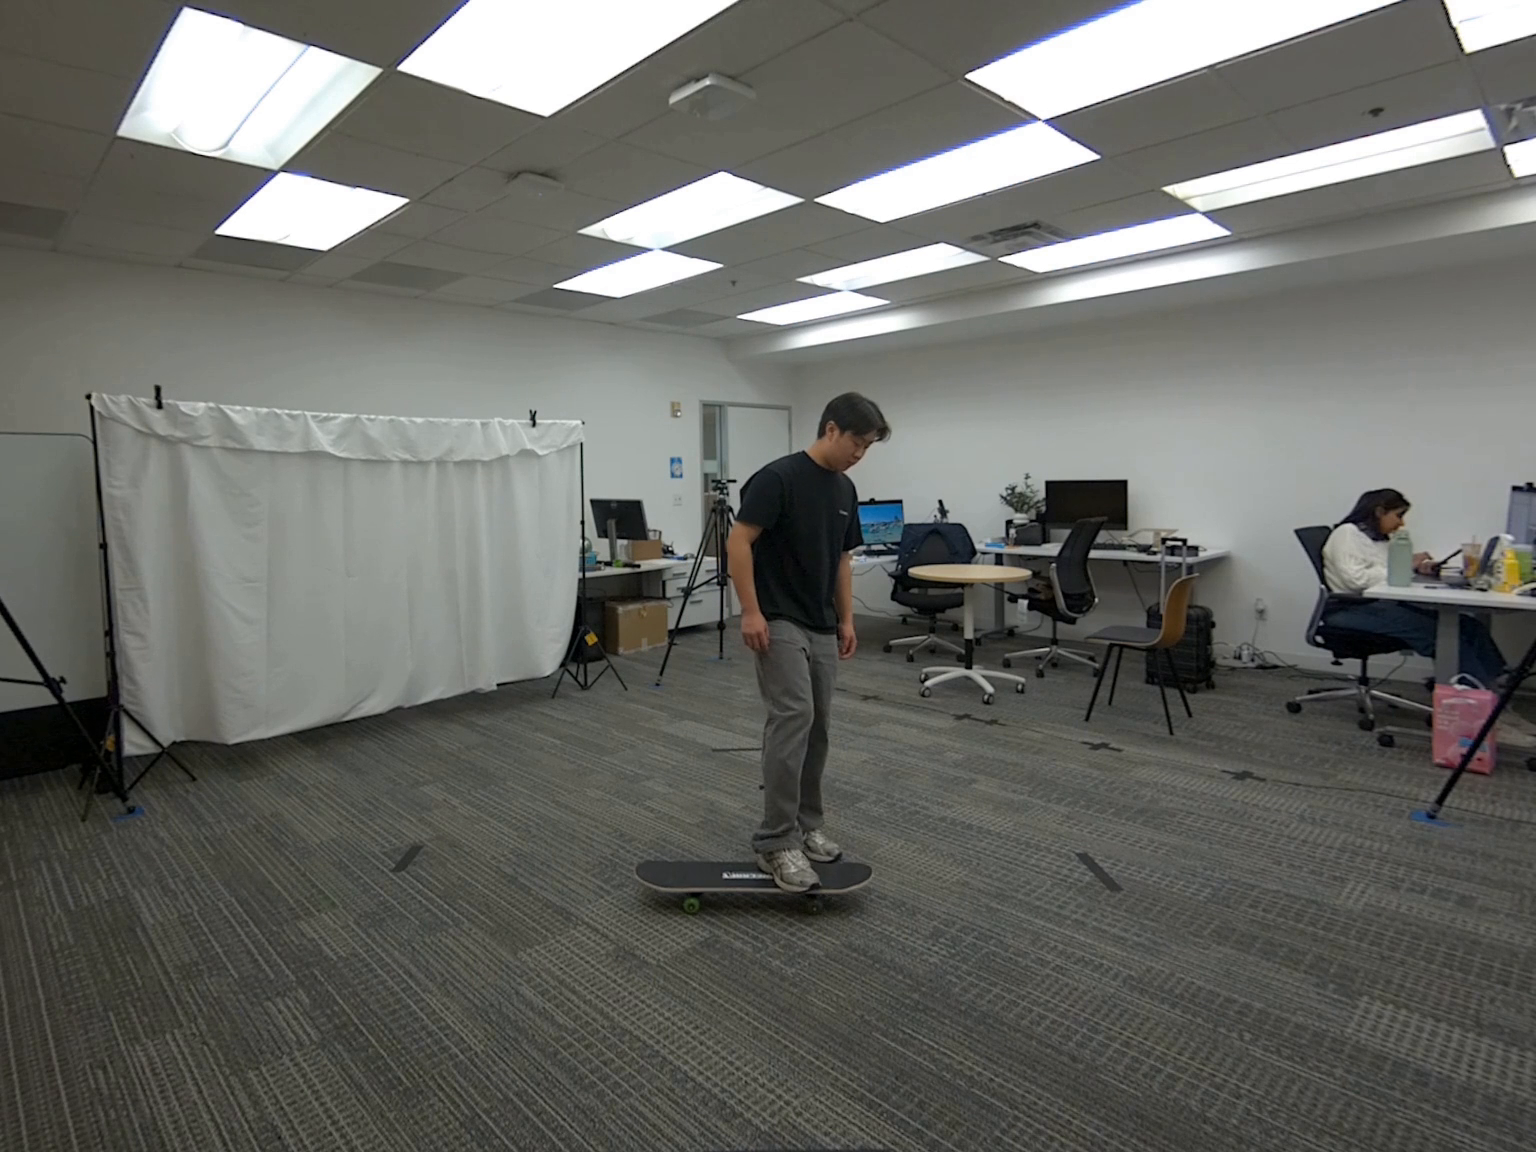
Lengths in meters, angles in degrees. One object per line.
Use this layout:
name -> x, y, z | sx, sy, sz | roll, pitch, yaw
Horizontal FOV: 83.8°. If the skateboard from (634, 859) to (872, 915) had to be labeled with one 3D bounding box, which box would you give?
skateboard -> -0.037, 1.023, 2.827 | 0.788, 0.110, 0.194 | 0, 7, 4
